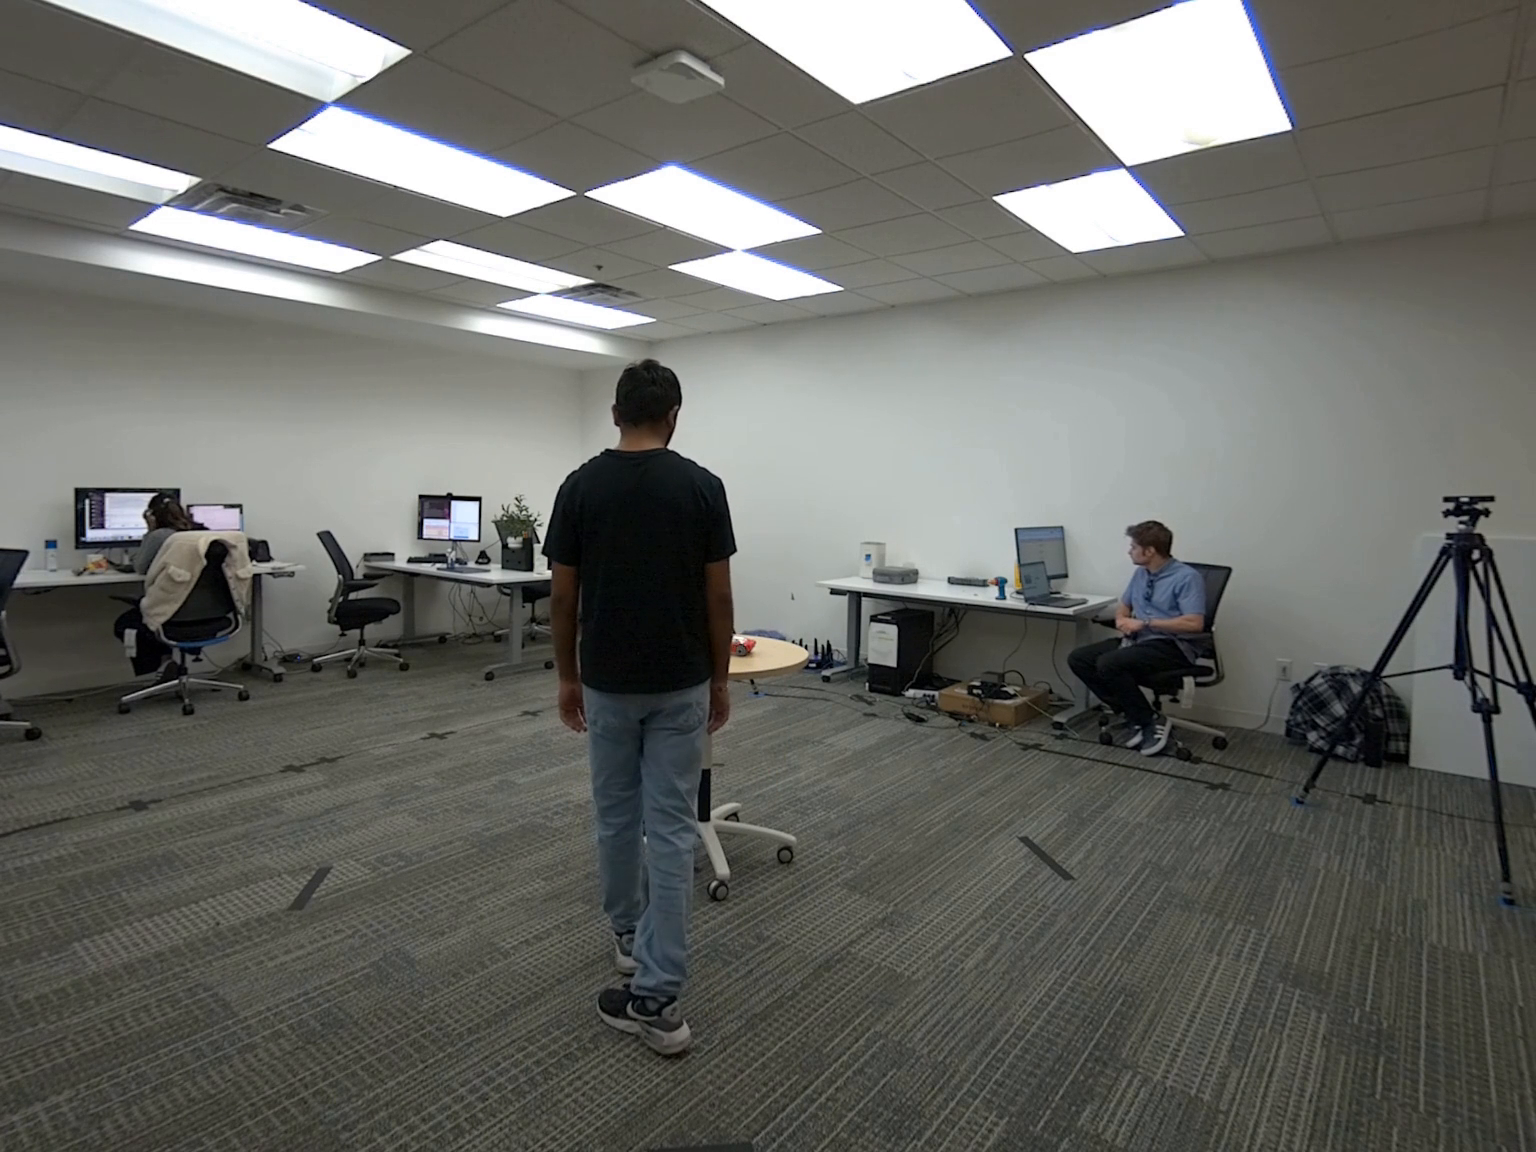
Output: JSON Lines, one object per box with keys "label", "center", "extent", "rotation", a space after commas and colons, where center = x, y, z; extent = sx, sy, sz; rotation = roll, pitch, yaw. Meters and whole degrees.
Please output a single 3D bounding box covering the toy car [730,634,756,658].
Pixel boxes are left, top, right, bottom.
{"label": "toy car", "center": [-0.182, 0.249, 3.163], "extent": [0.259, 0.083, 0.129], "rotation": [13, 9, 15]}
